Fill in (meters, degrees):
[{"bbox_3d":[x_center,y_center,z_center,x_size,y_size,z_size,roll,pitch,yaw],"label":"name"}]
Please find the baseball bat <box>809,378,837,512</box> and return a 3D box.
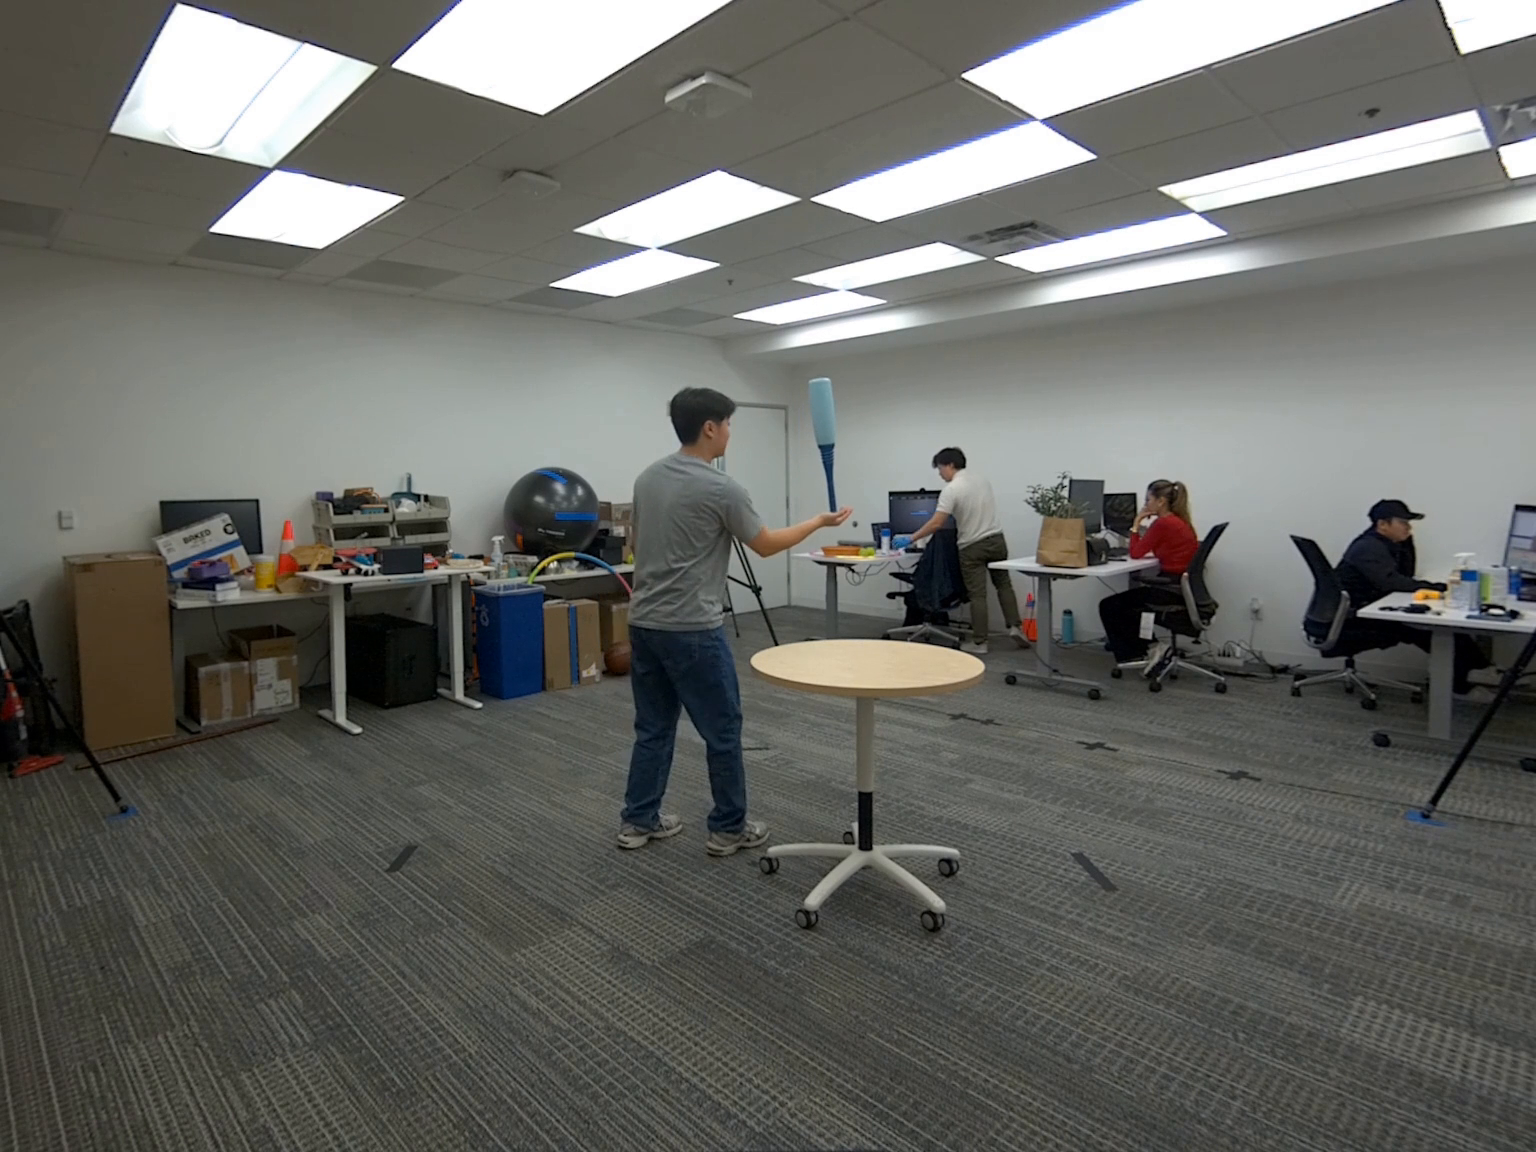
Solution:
[{"bbox_3d":[0.225,-0.492,3.315,0.089,0.538,0.090,-7,8,-1],"label":"baseball bat"}]
